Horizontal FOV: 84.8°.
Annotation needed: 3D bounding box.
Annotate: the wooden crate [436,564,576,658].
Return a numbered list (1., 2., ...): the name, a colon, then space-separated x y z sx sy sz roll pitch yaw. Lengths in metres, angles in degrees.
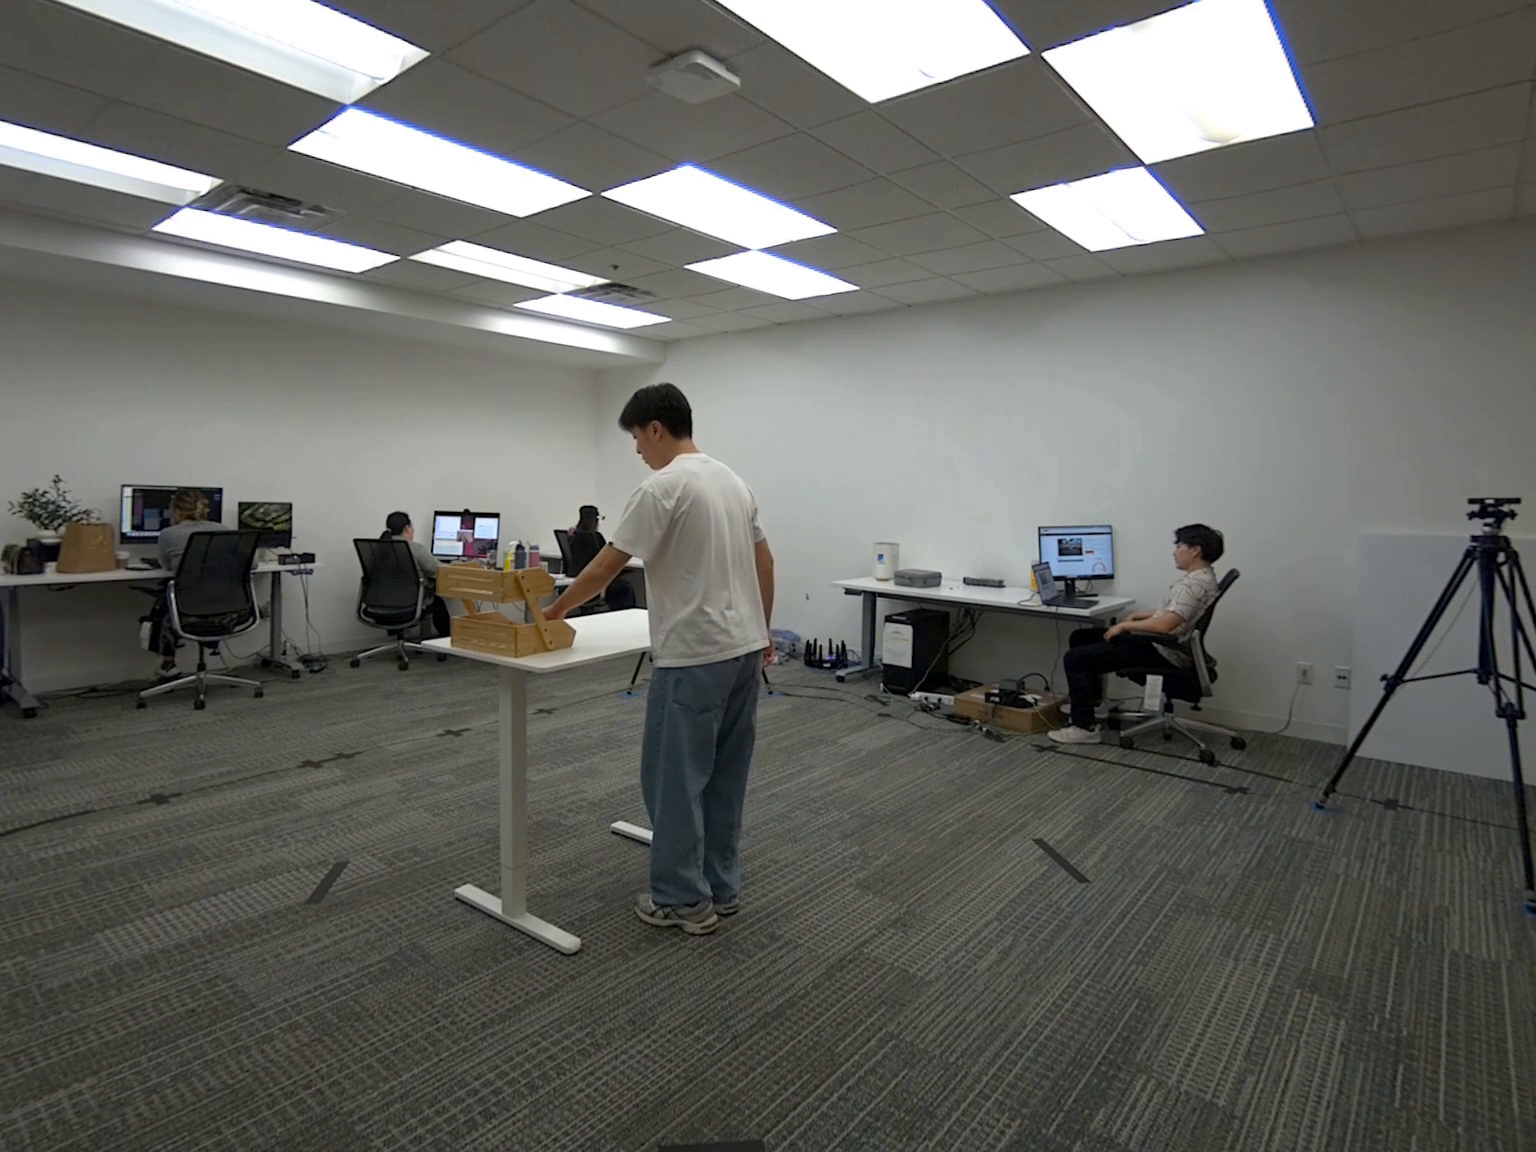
1. wooden crate: -0.821 0.089 2.657 0.334 0.272 0.294 4 6 32
